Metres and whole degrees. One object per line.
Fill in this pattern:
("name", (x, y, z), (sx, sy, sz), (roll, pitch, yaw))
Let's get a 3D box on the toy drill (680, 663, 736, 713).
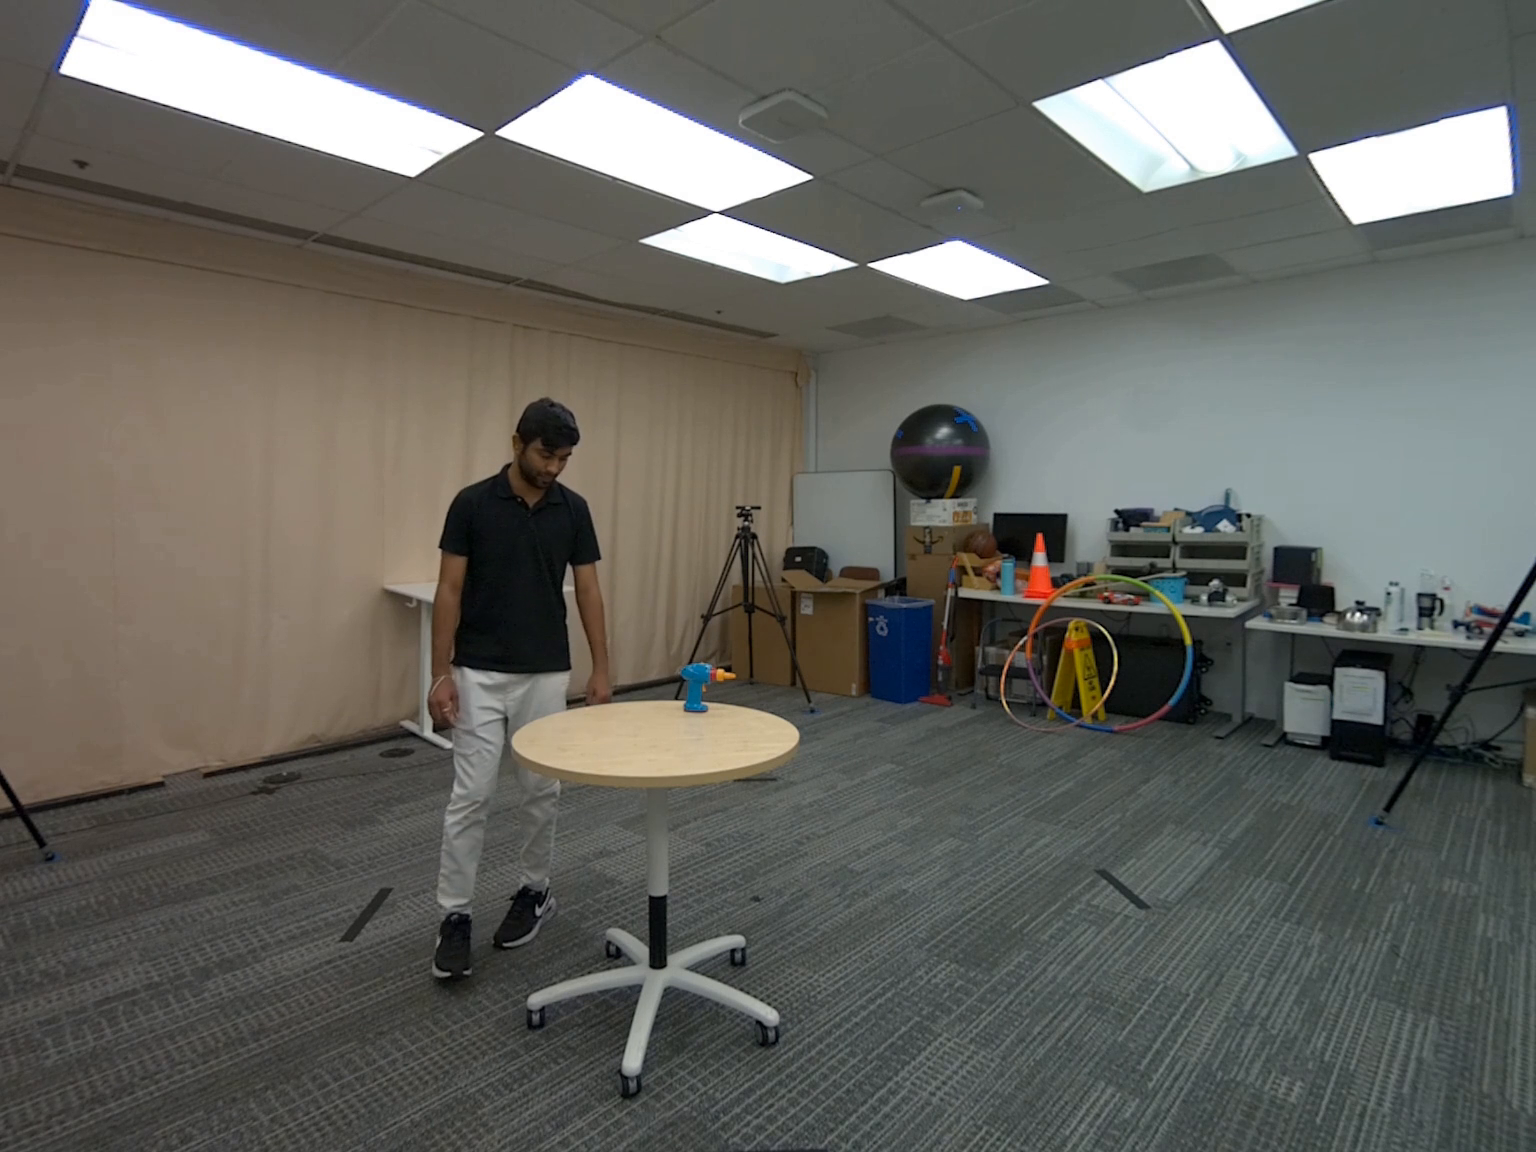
("toy drill", (-0.173, 0.333, 2.503), (0.172, 0.146, 0.060), (1, 3, 10))
